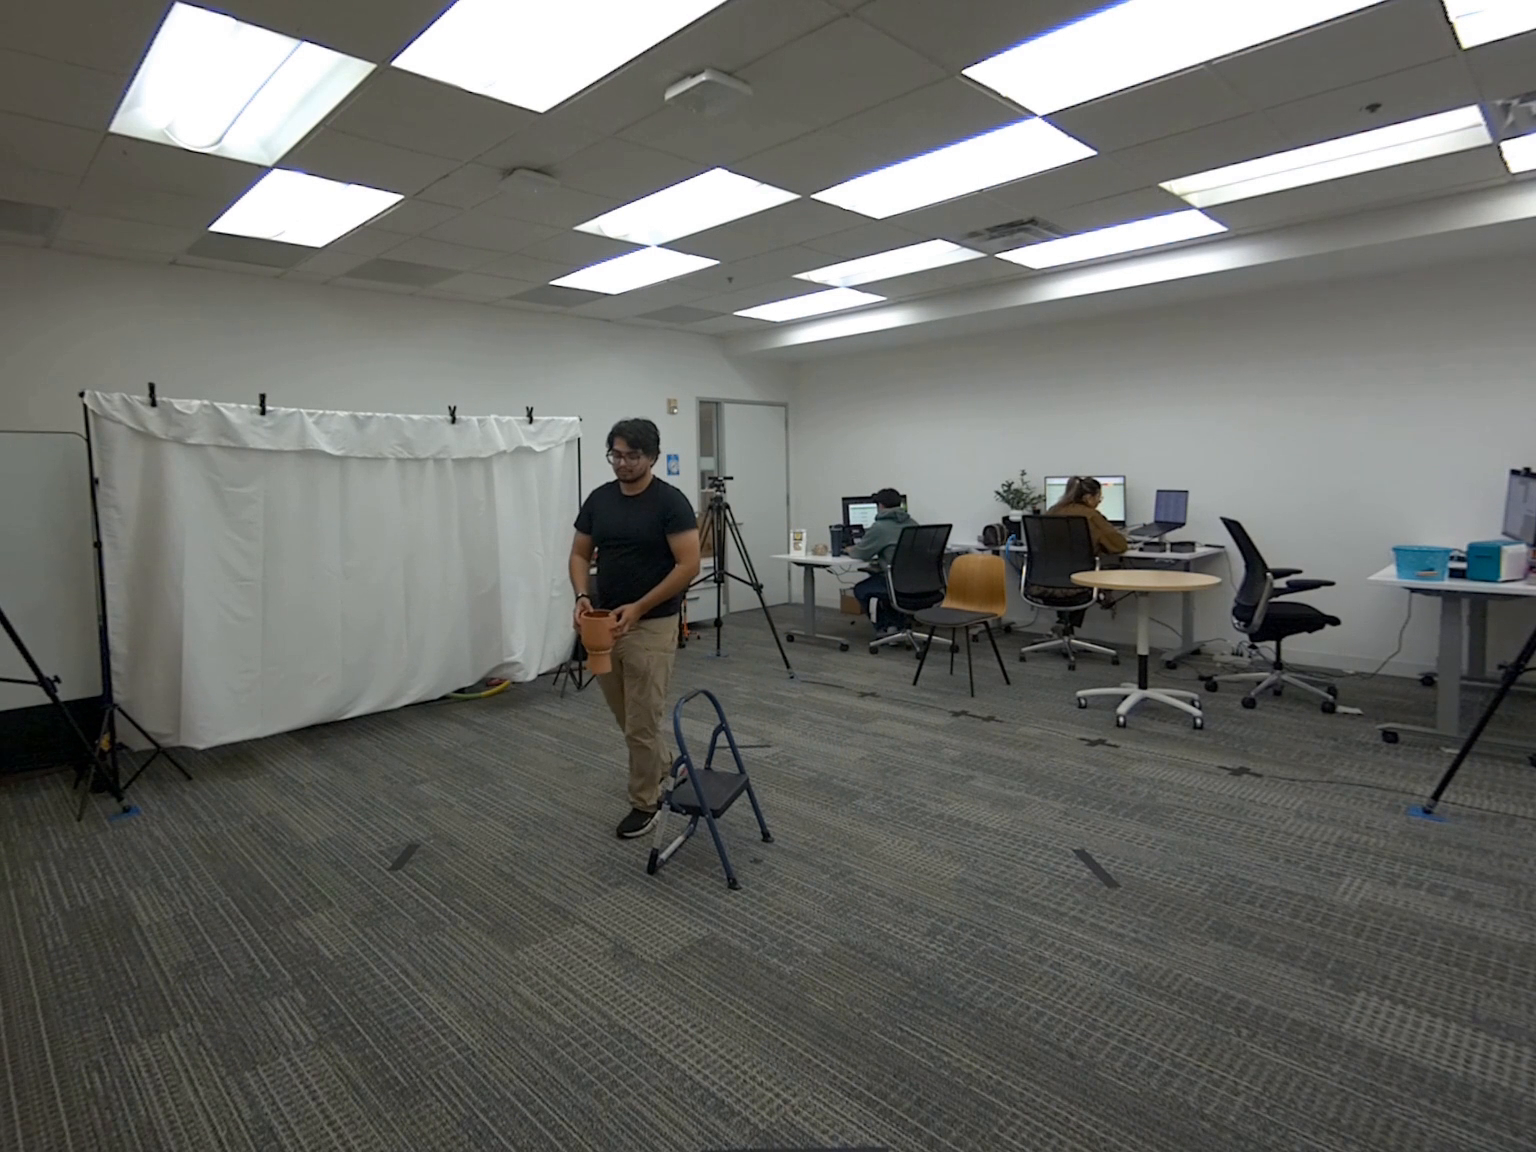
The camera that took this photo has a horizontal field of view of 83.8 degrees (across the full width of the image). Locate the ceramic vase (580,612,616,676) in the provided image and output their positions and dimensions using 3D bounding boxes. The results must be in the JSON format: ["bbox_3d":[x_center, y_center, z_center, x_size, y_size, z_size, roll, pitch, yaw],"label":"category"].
[{"bbox_3d":[-0.640,0.253,3.238,0.131,0.218,0.164,-6,12,-35],"label":"ceramic vase"}]
